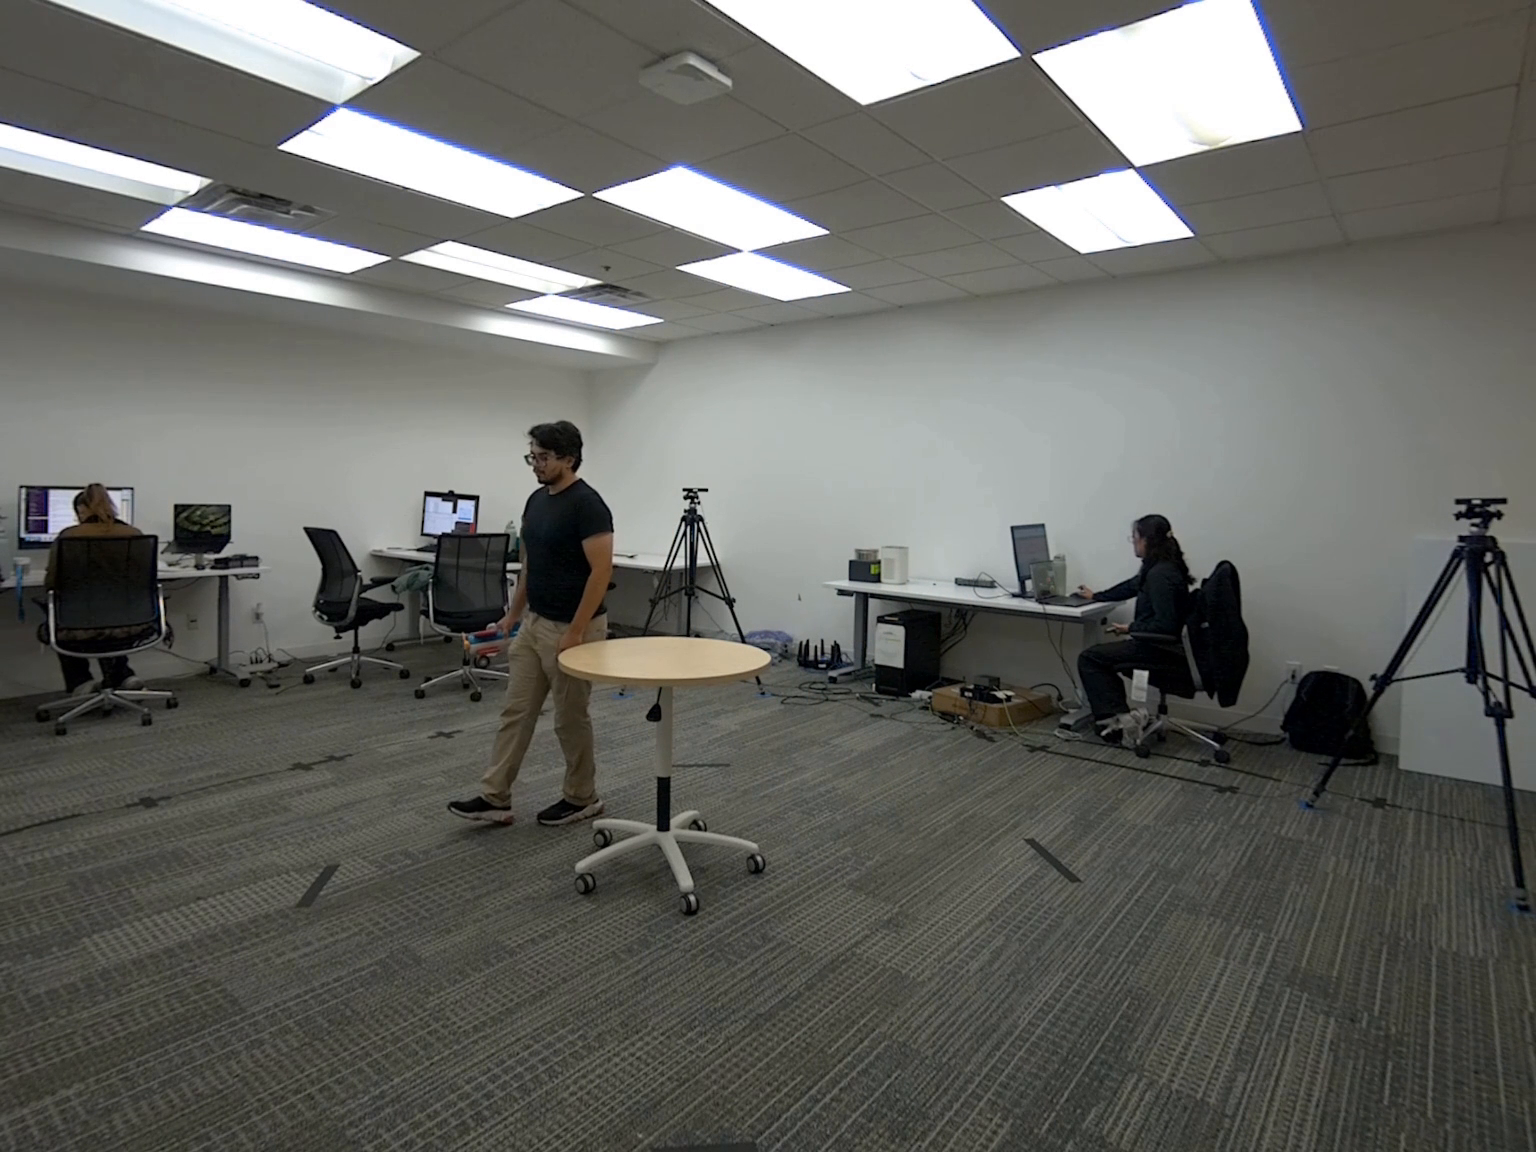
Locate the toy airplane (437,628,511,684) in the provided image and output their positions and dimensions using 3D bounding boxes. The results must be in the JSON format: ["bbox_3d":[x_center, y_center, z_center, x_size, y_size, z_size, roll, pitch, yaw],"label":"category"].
[{"bbox_3d":[-1.214,0.291,3.700,0.256,0.155,0.256,-17,8,33],"label":"toy airplane"}]
